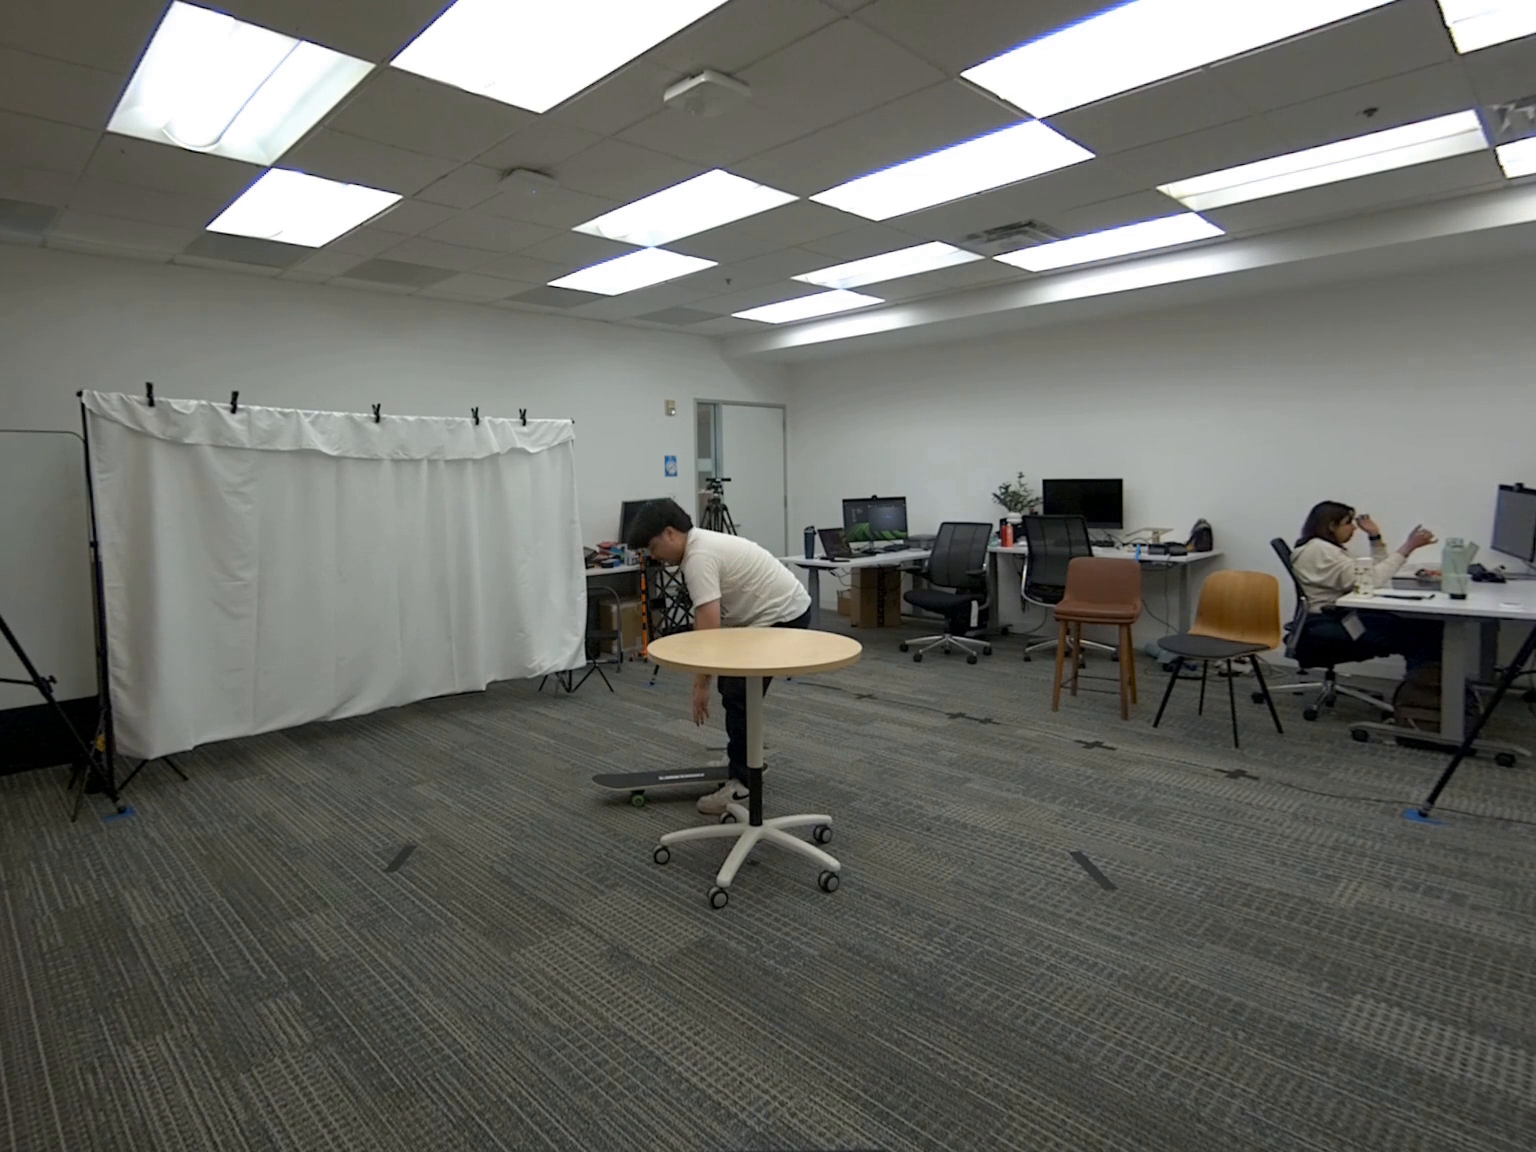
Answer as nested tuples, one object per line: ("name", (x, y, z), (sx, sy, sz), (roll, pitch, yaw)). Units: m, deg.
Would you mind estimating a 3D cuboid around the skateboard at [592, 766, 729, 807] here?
("skateboard", (-0.379, 0.912, 3.770), (0.778, 0.110, 0.196), (-2, 6, -9))
